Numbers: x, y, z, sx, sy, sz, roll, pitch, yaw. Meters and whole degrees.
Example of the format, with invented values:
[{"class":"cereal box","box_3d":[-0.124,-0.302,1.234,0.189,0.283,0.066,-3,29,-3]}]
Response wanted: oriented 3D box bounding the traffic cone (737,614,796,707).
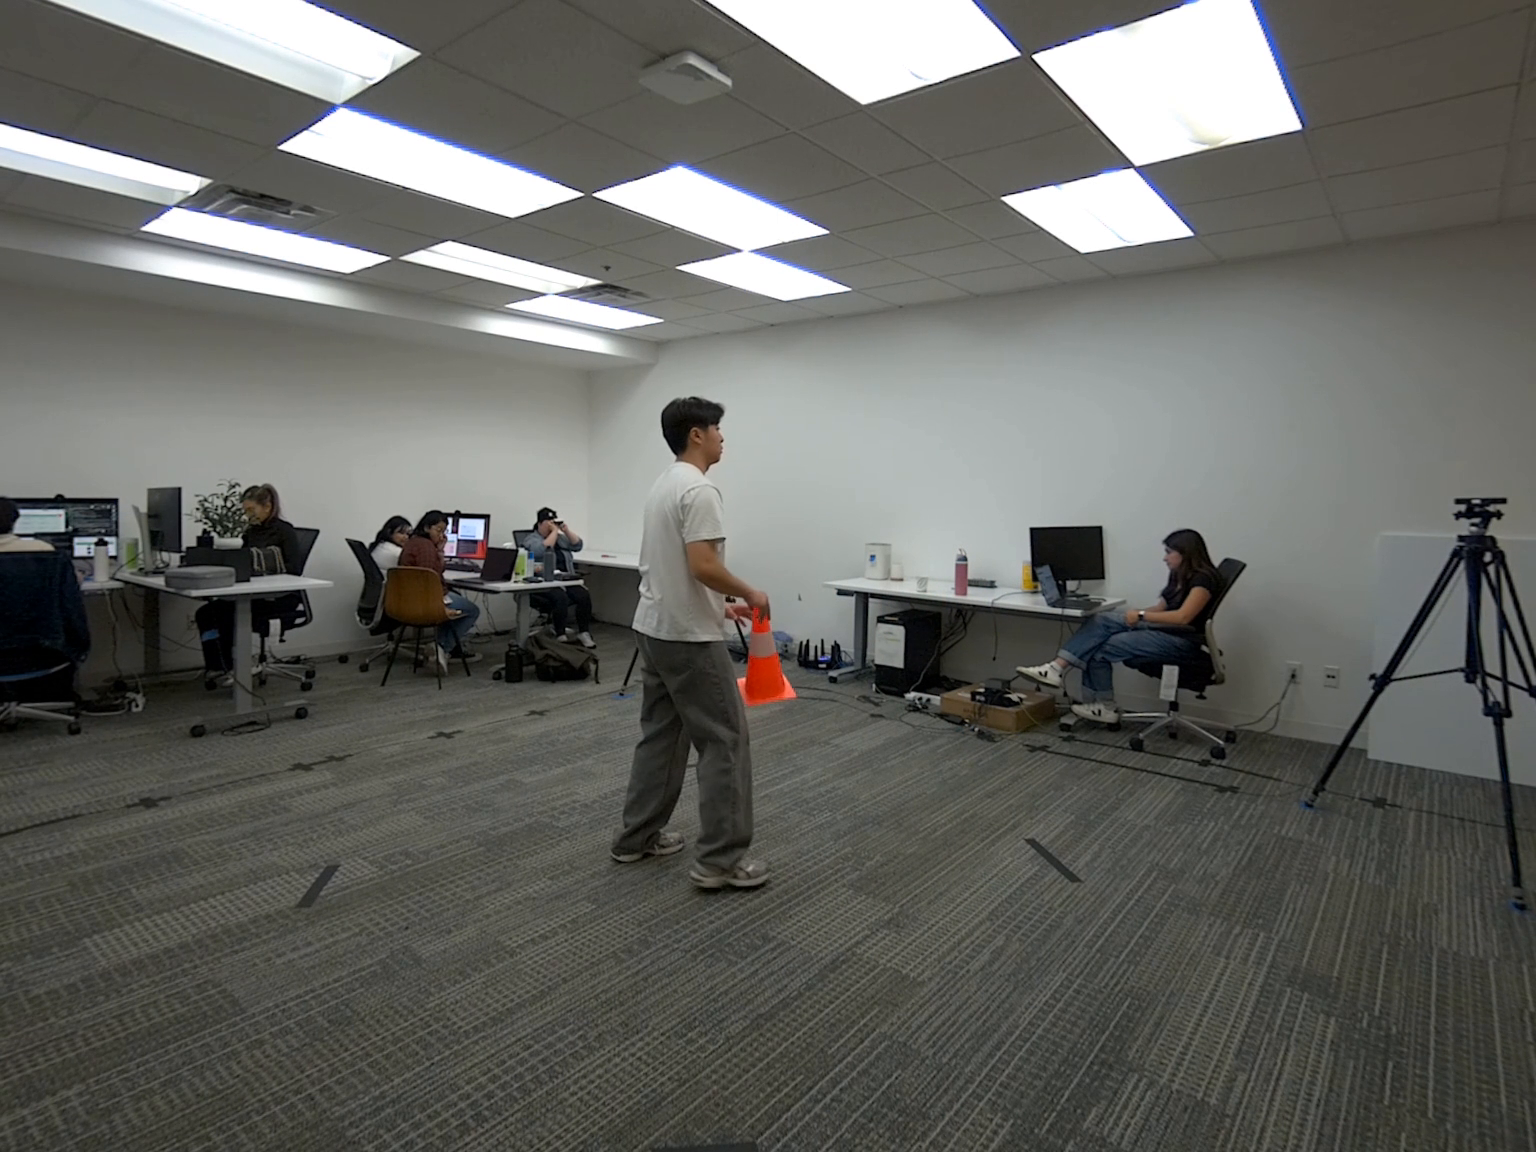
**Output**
[{"class":"traffic cone","box_3d":[-0.025,0.265,3.201,0.201,0.376,0.211,-8,20,-14]}]
